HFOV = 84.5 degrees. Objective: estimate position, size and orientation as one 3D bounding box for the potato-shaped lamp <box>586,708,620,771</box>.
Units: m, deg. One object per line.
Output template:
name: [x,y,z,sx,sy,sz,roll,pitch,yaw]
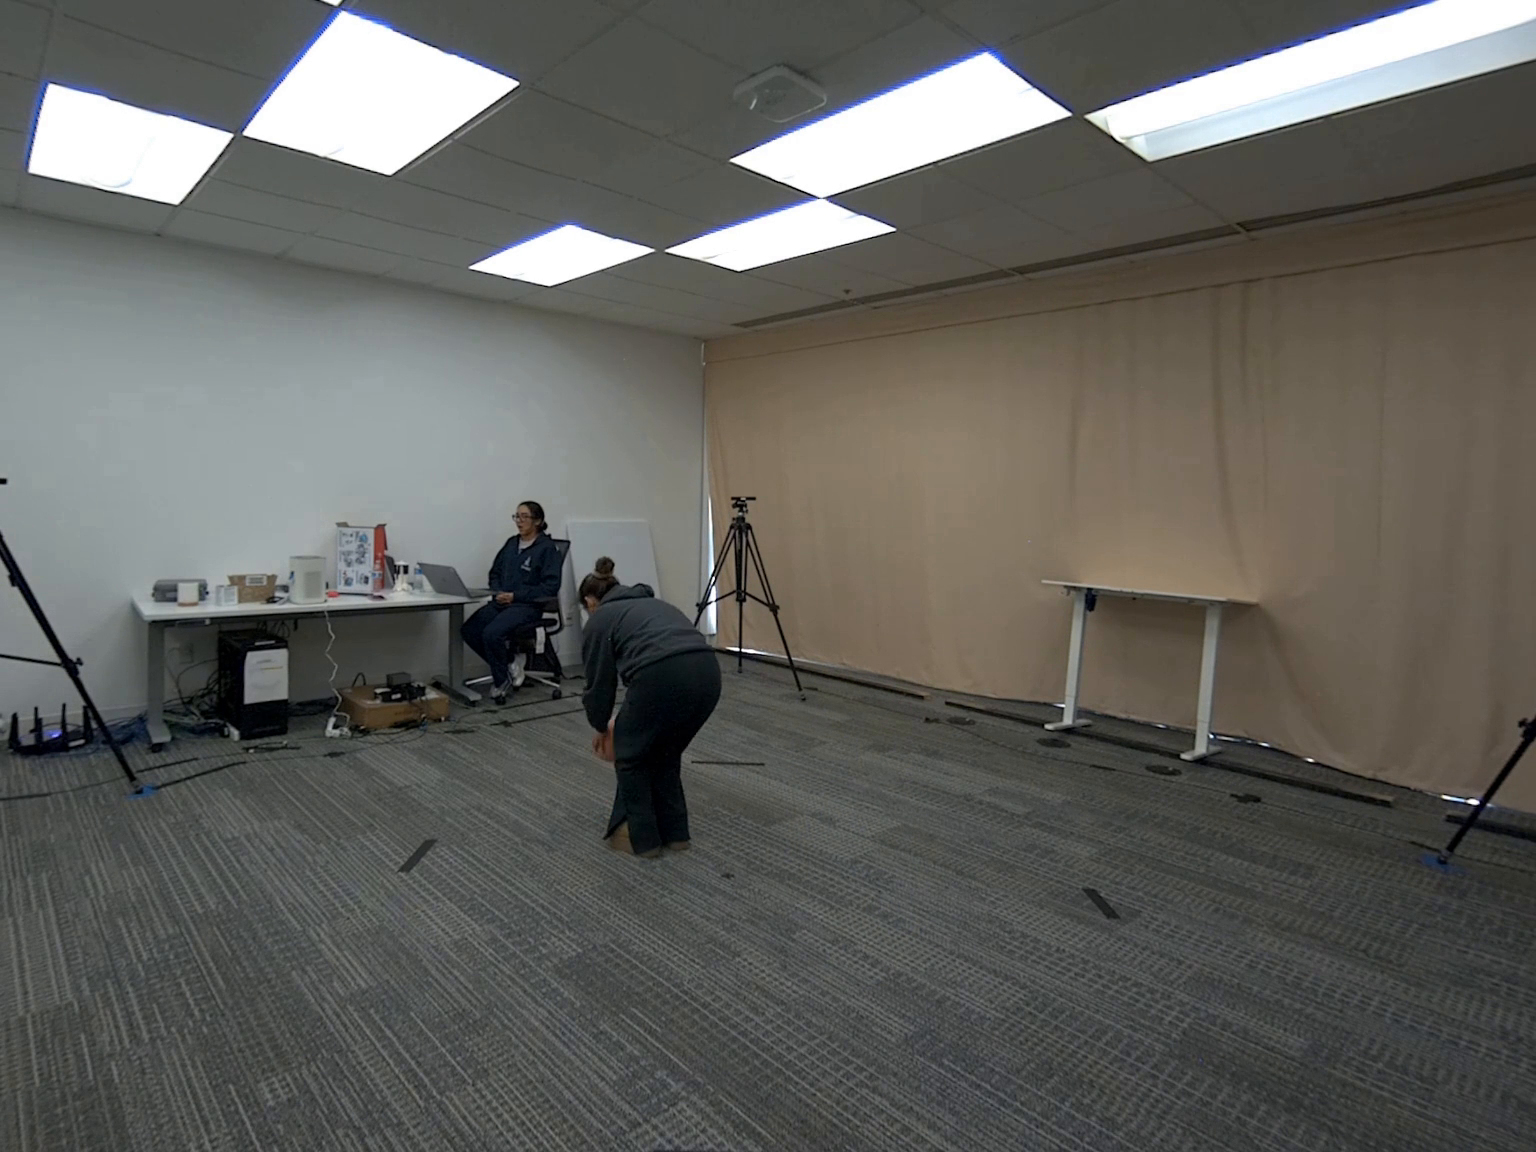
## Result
potato-shaped lamp: [-0.683,0.703,3.659,0.162,0.196,0.176,4,25,-19]
